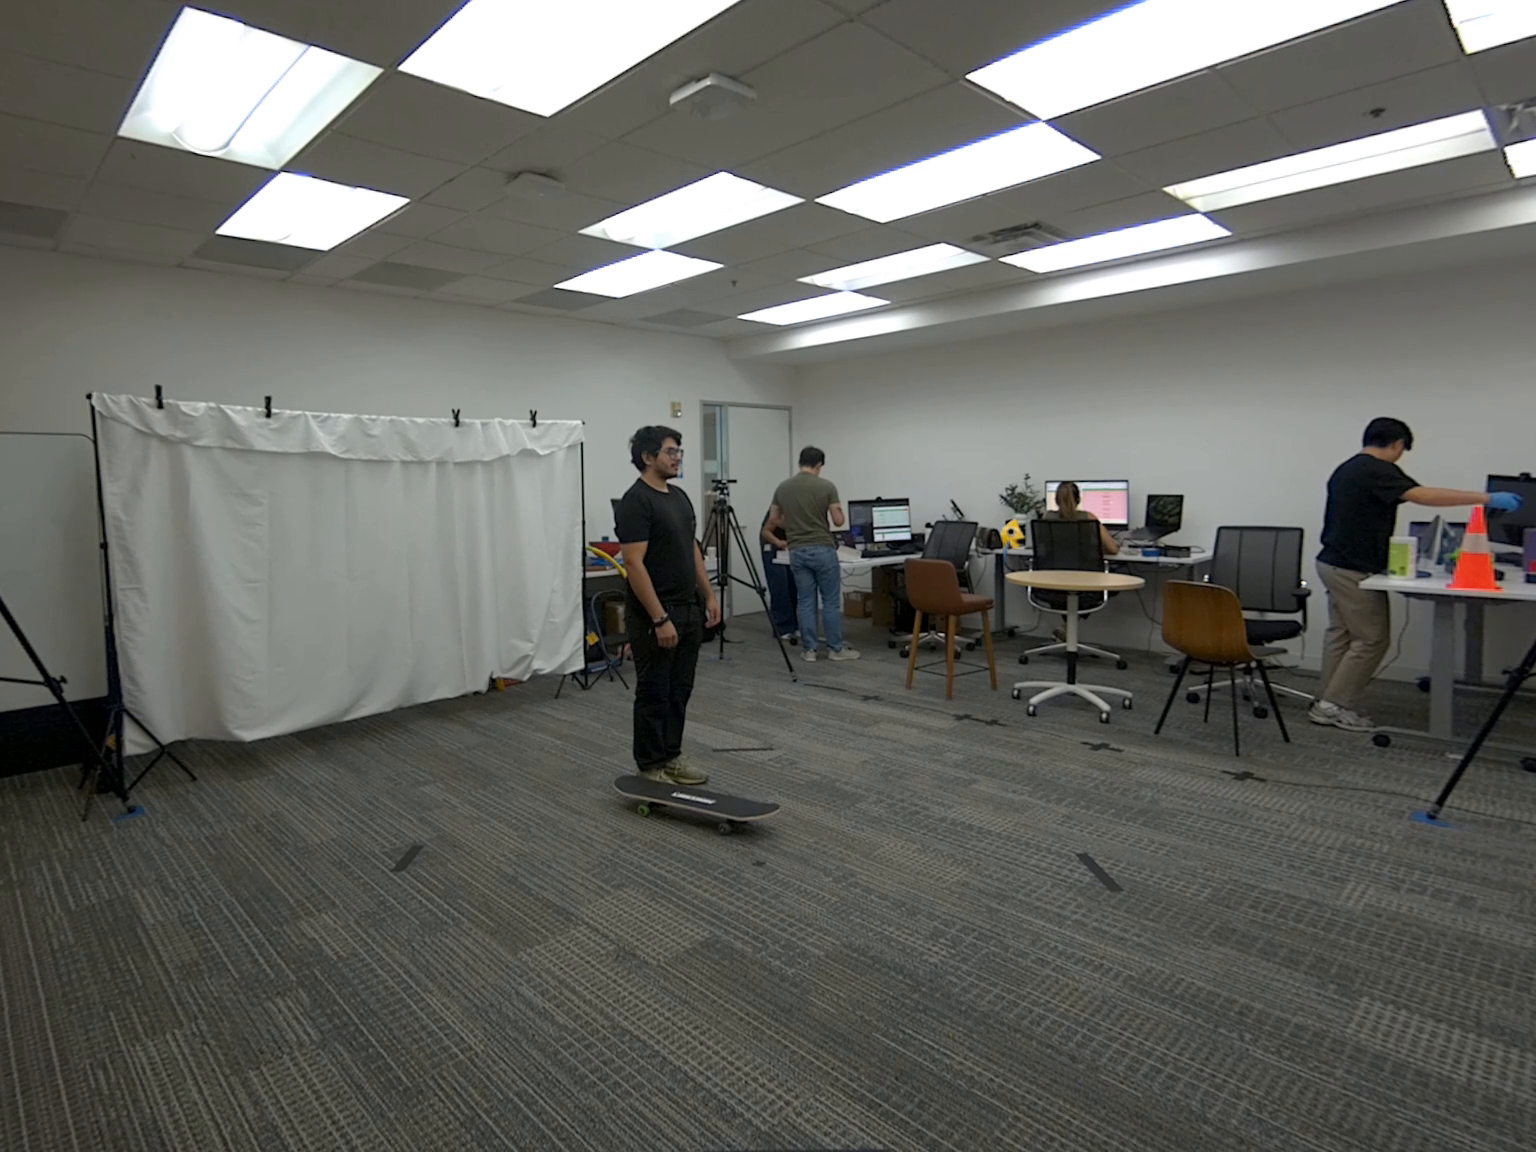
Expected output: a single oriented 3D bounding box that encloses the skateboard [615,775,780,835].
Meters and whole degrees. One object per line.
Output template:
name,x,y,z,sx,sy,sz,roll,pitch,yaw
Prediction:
skateboard,-0.302,0.948,3.532,0.806,0.110,0.189,2,6,30
